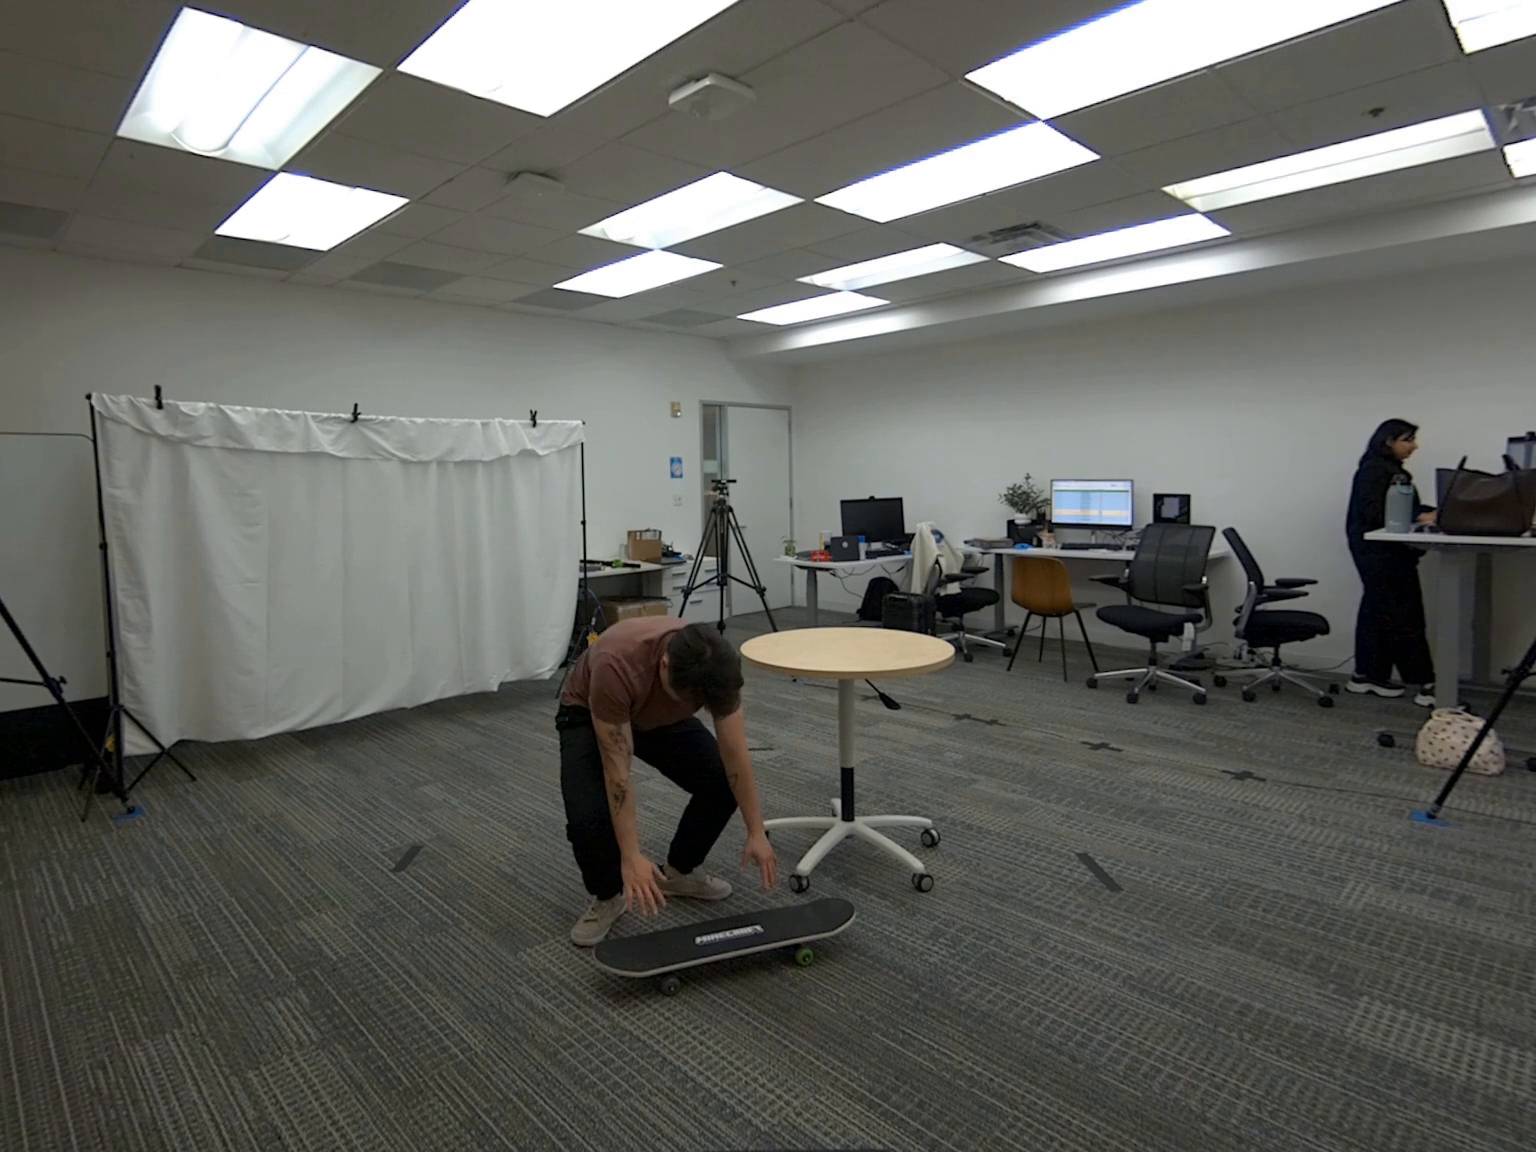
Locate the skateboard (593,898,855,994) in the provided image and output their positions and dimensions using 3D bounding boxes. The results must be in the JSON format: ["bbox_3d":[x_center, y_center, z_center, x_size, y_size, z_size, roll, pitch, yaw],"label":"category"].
[{"bbox_3d":[-0.108,1.058,2.480,0.774,0.110,0.197,-4,6,-17],"label":"skateboard"}]
